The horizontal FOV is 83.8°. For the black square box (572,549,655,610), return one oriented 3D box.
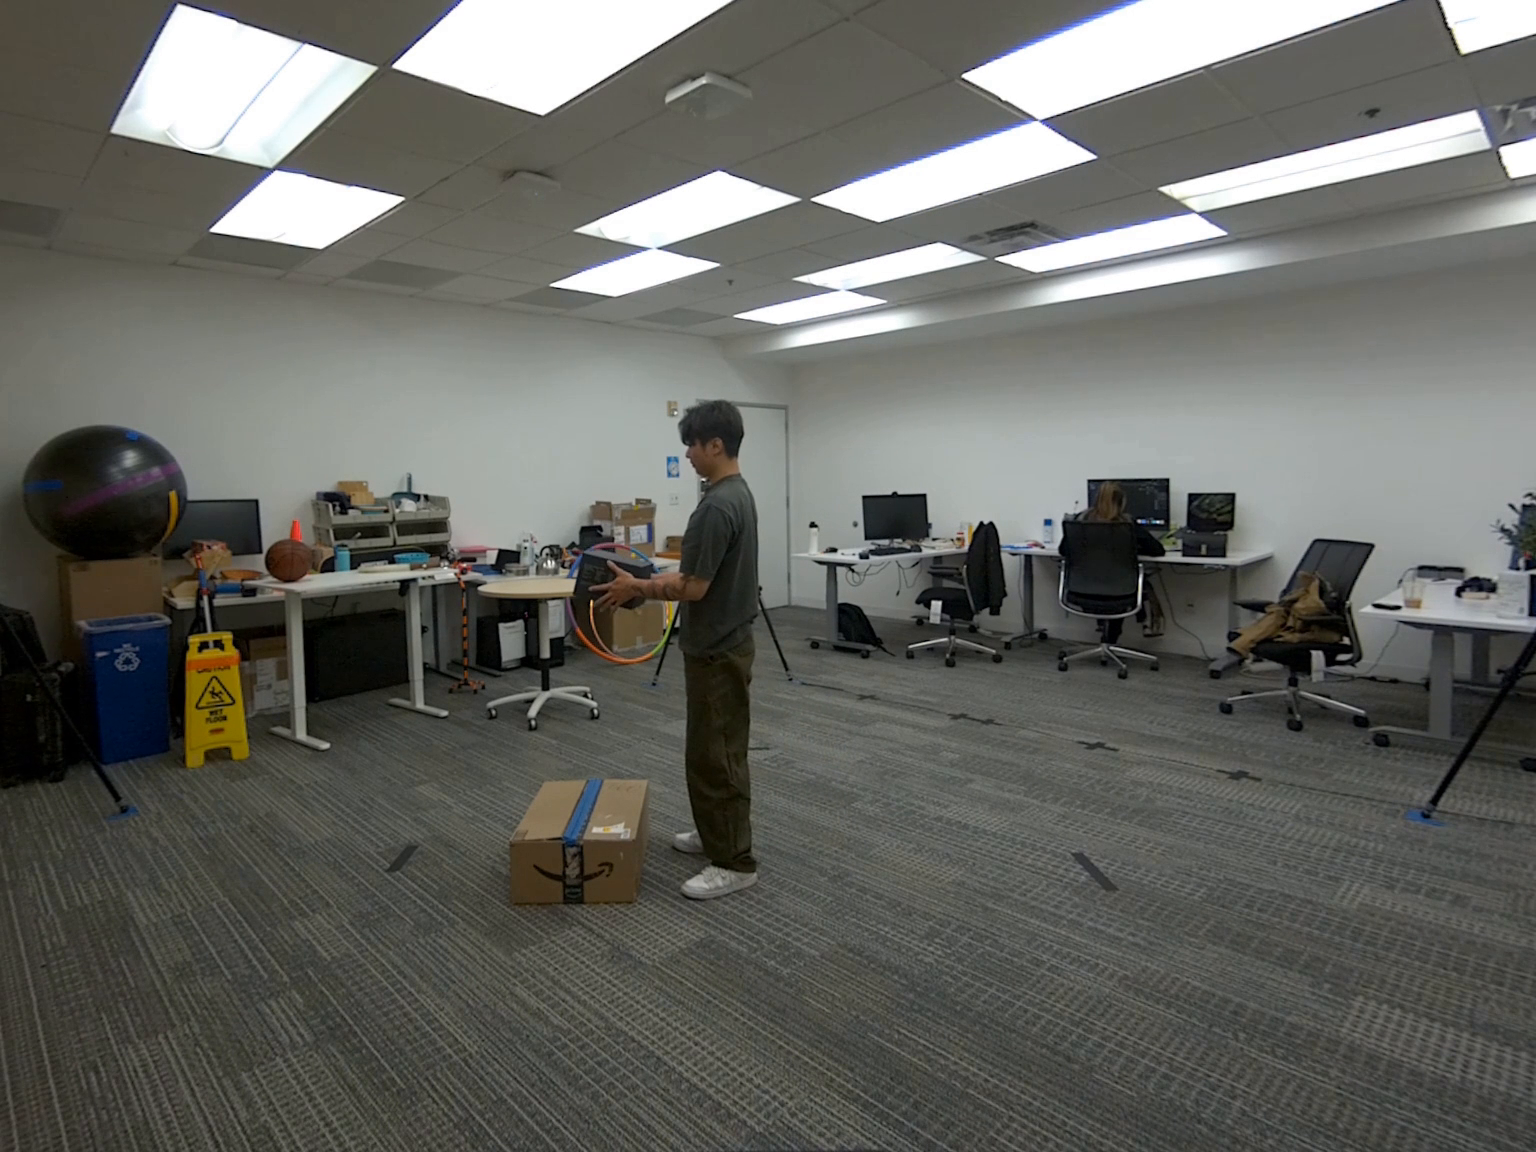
[{"bbox_3d":[-0.551,0.000,3.074,0.217,0.155,0.228,8,5,1],"label":"black square box"}]
